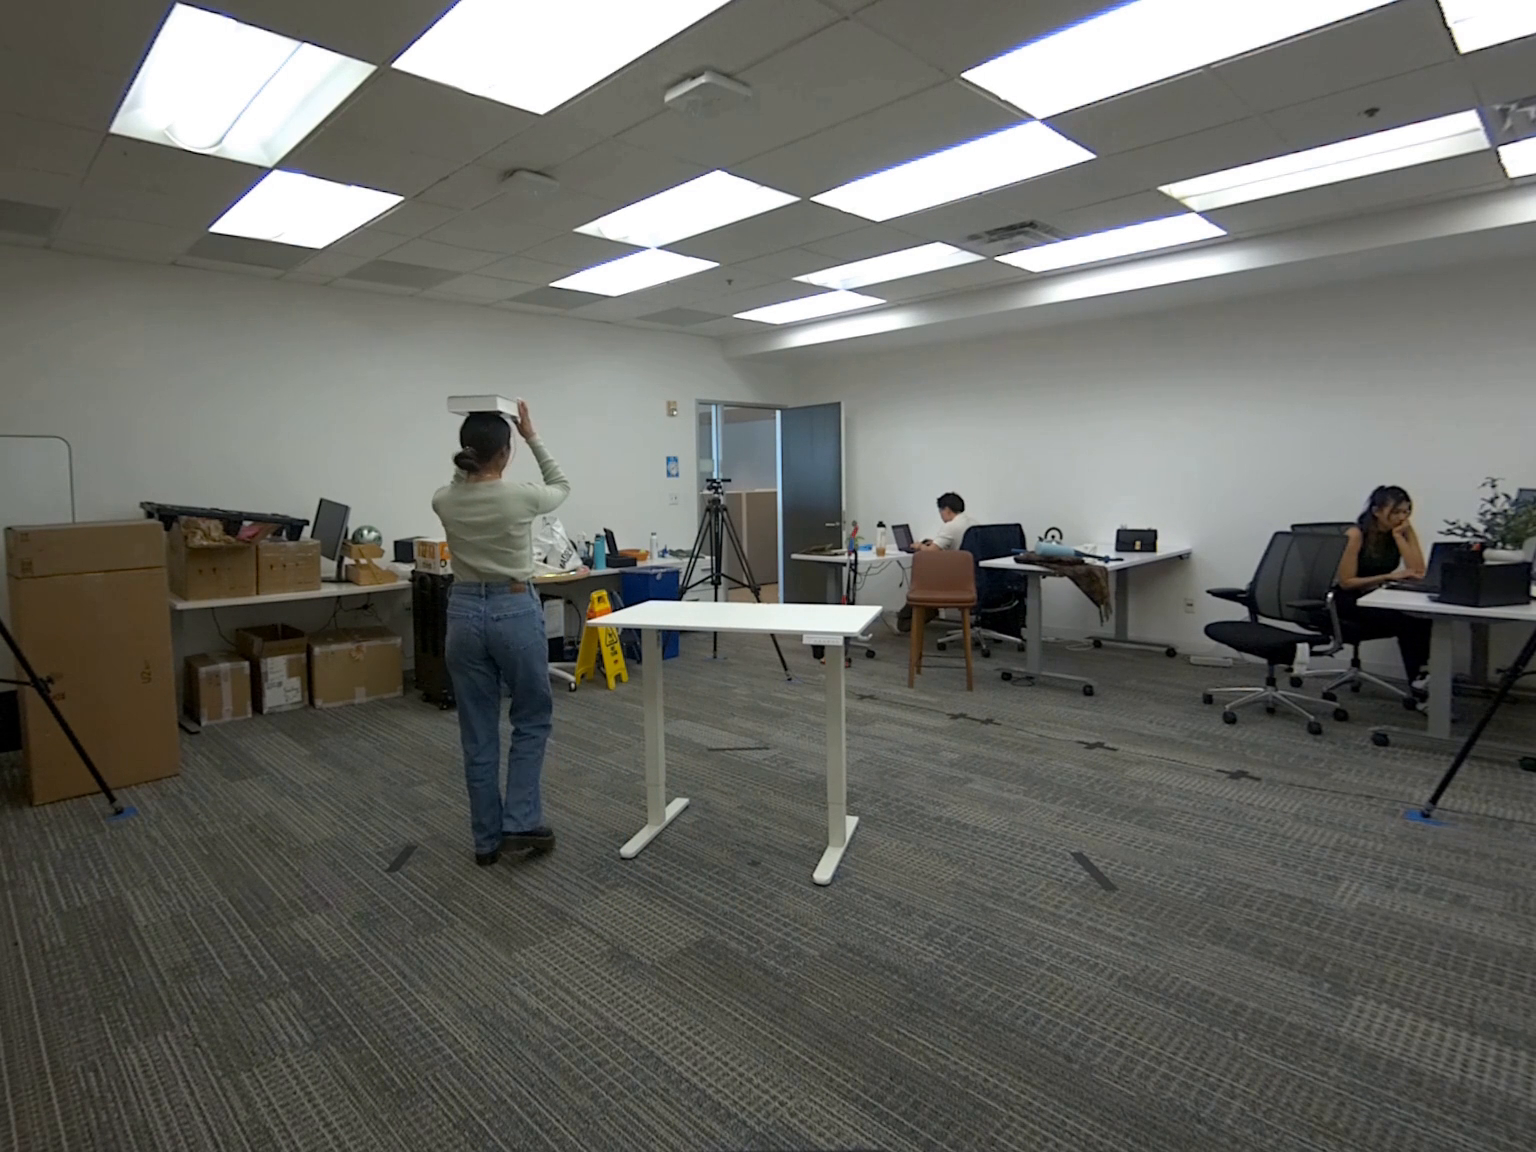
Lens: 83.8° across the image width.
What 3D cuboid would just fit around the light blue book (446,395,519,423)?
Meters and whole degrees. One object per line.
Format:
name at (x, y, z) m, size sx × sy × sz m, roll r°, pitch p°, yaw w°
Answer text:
light blue book at (-1.039, -0.622, 3.132) m, size 0.192 × 0.059 × 0.261 m, roll -4°, pitch 5°, yaw 4°
